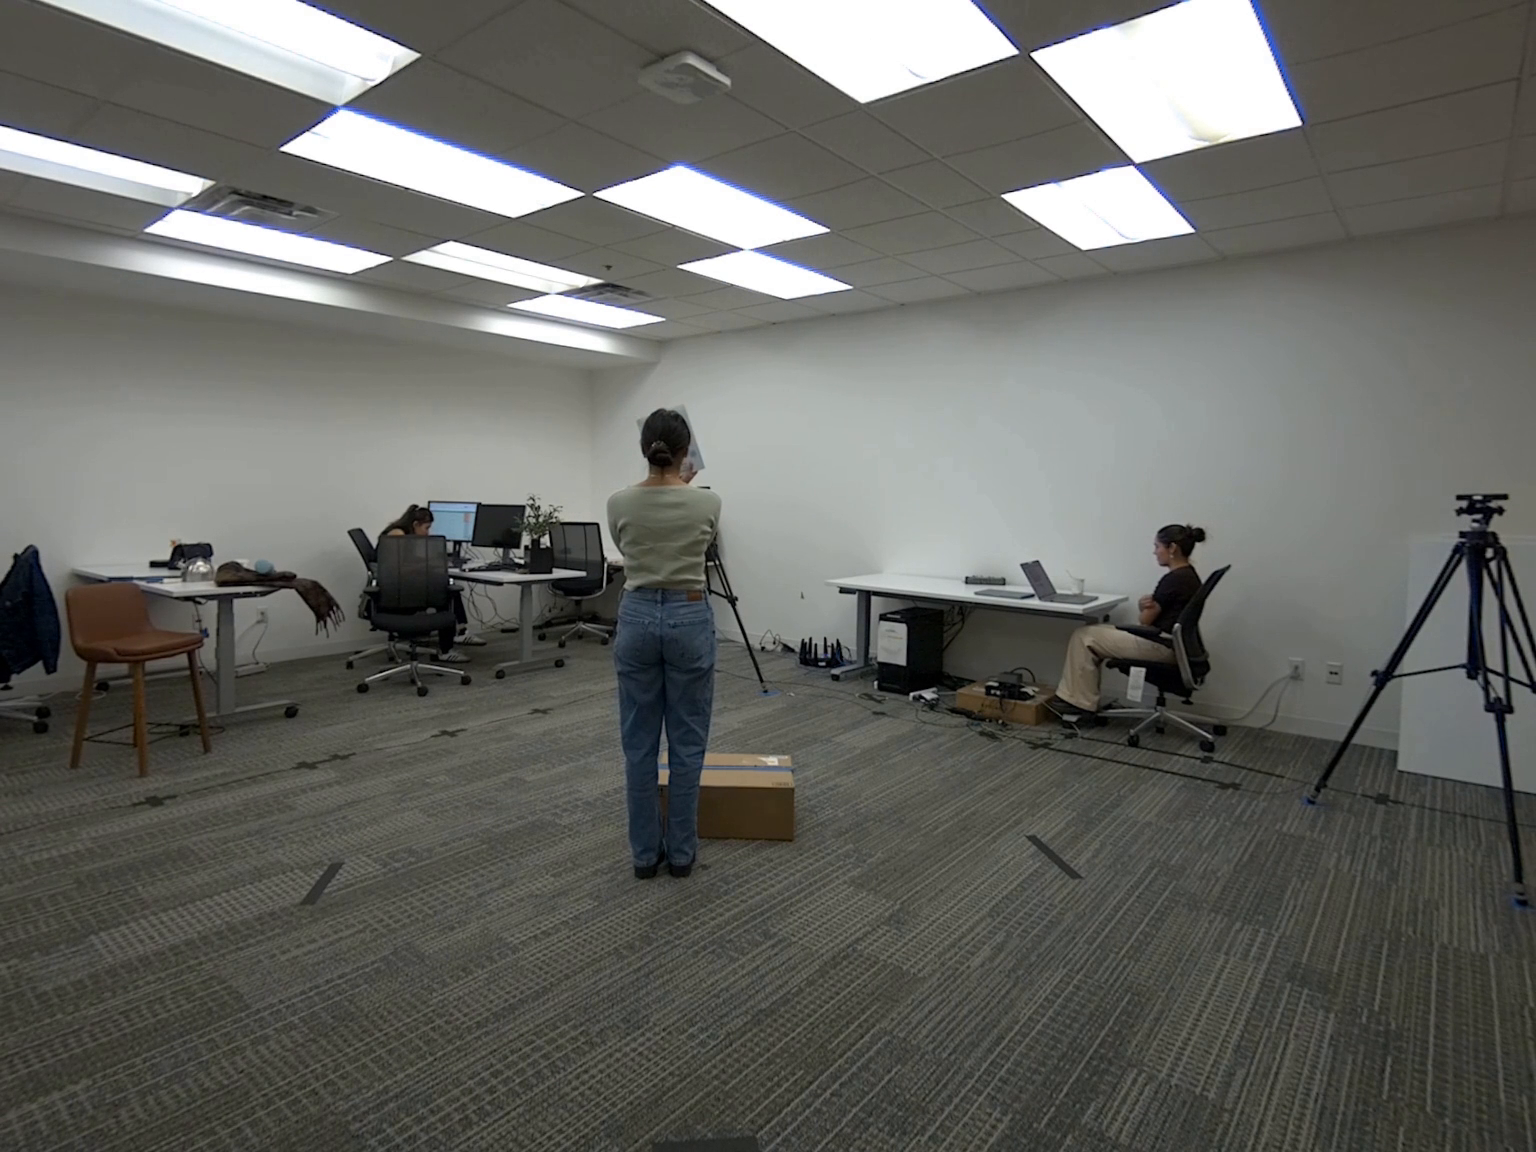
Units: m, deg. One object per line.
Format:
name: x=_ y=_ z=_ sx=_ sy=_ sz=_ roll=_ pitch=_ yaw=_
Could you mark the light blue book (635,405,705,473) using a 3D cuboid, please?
light blue book: x=-0.383 y=-0.514 z=3.294 sx=0.190 sy=0.258 sz=0.060 roll=-20 pitch=10 yaw=-11
